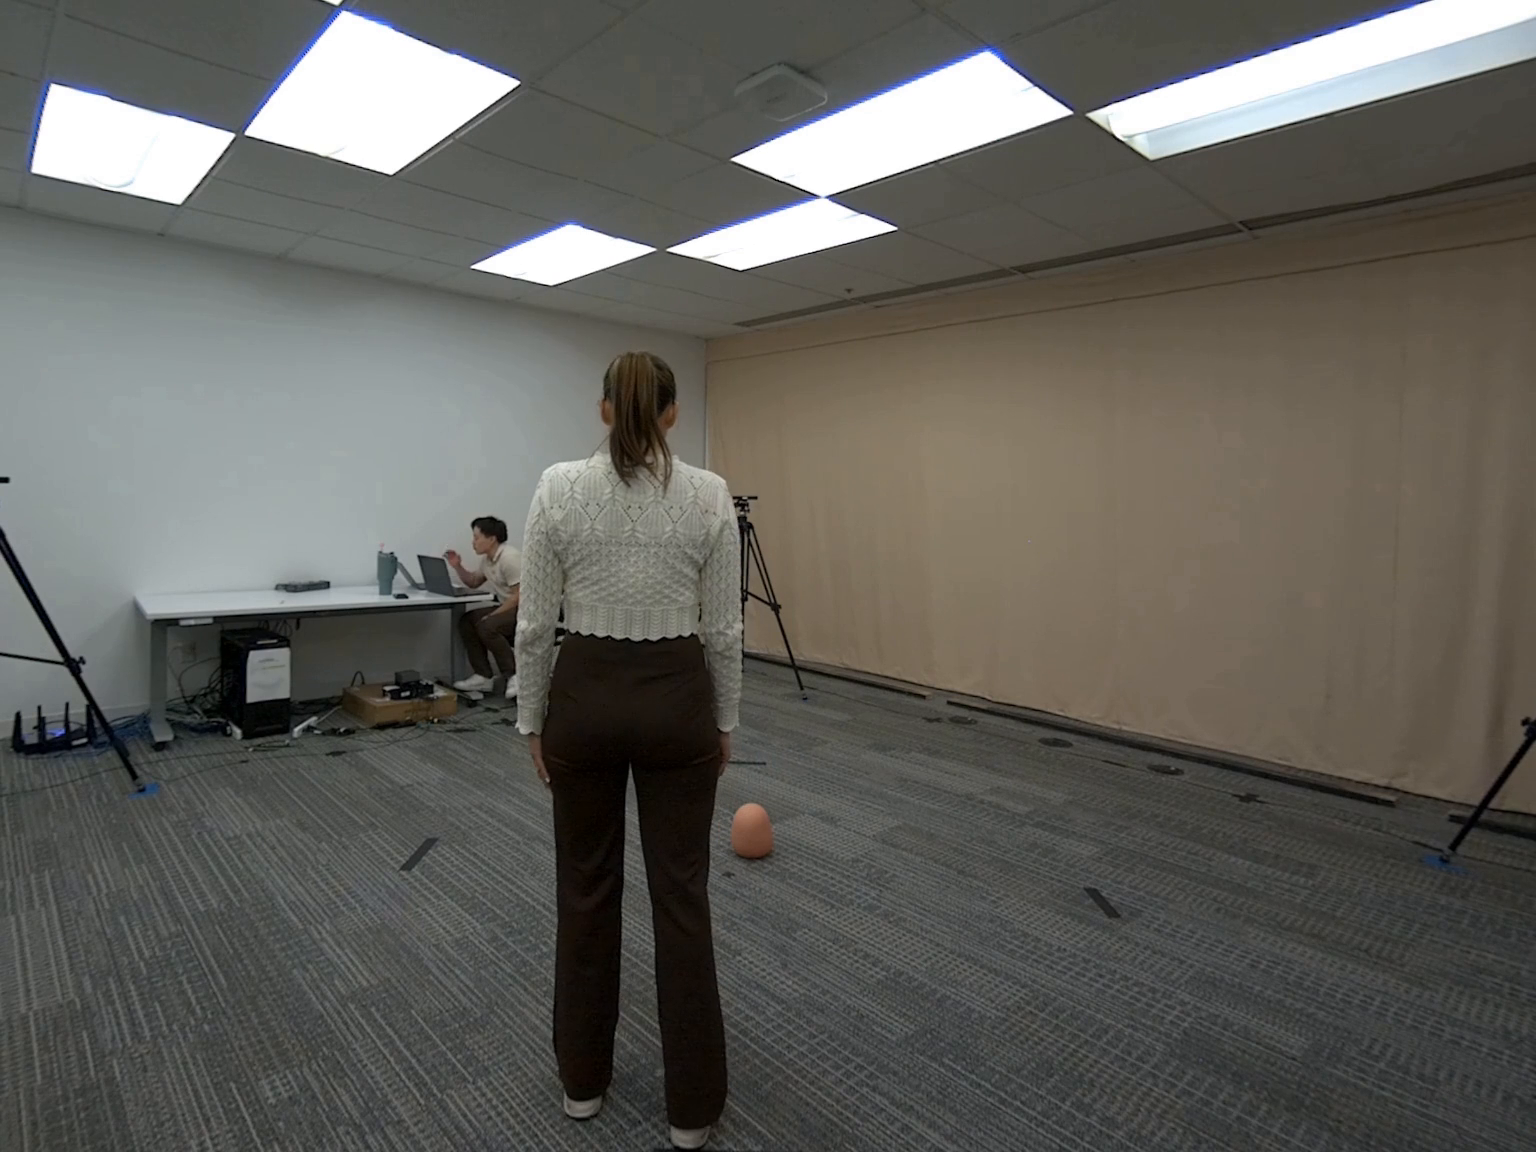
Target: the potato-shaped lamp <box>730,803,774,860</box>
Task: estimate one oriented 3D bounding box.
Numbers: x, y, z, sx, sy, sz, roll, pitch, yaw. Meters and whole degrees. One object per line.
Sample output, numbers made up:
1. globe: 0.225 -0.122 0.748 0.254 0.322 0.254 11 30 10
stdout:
1. potato-shaped lamp: -0.072 0.989 3.289 0.168 0.197 0.168 7 8 30
